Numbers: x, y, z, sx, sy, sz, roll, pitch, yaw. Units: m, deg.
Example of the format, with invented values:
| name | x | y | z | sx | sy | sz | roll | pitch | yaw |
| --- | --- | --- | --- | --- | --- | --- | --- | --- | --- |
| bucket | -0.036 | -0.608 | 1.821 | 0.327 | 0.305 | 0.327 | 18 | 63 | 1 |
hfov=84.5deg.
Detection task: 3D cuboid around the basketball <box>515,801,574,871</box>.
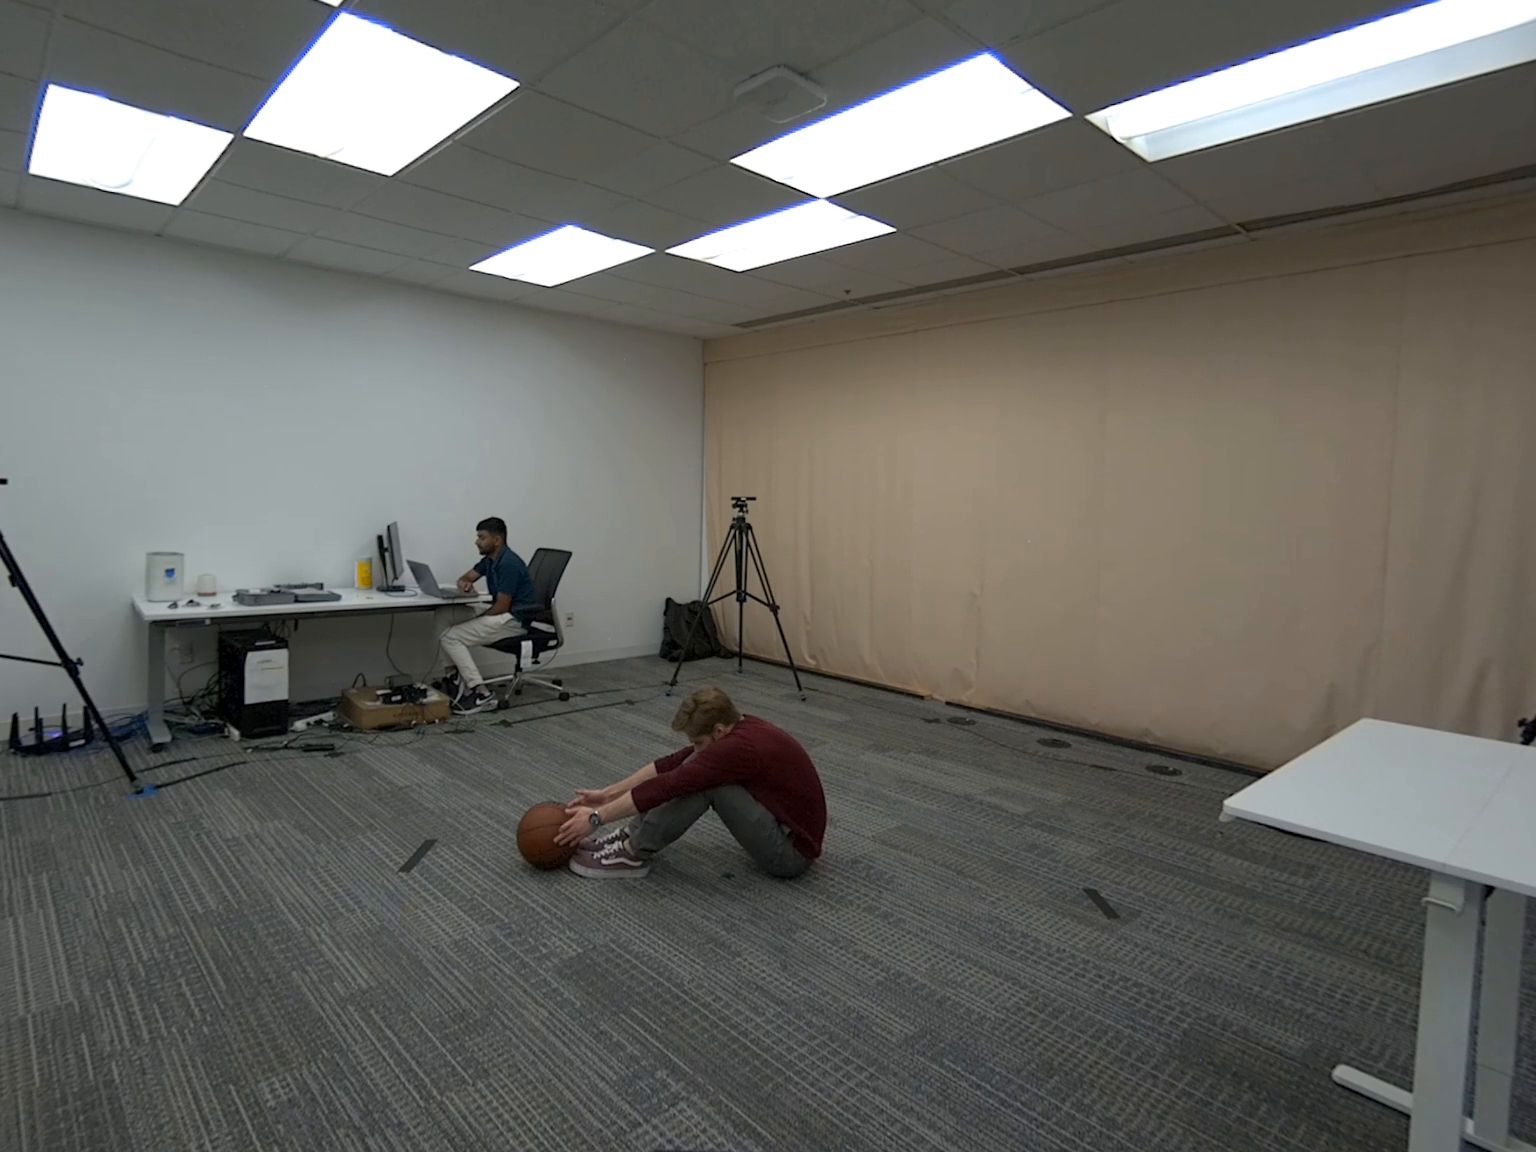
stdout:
| name | x | y | z | sx | sy | sz | roll | pitch | yaw |
| --- | --- | --- | --- | --- | --- | --- | --- | --- | --- |
| basketball | -0.822 | 0.959 | 3.149 | 0.236 | 0.235 | 0.237 | 1 | 4 | -1 |
